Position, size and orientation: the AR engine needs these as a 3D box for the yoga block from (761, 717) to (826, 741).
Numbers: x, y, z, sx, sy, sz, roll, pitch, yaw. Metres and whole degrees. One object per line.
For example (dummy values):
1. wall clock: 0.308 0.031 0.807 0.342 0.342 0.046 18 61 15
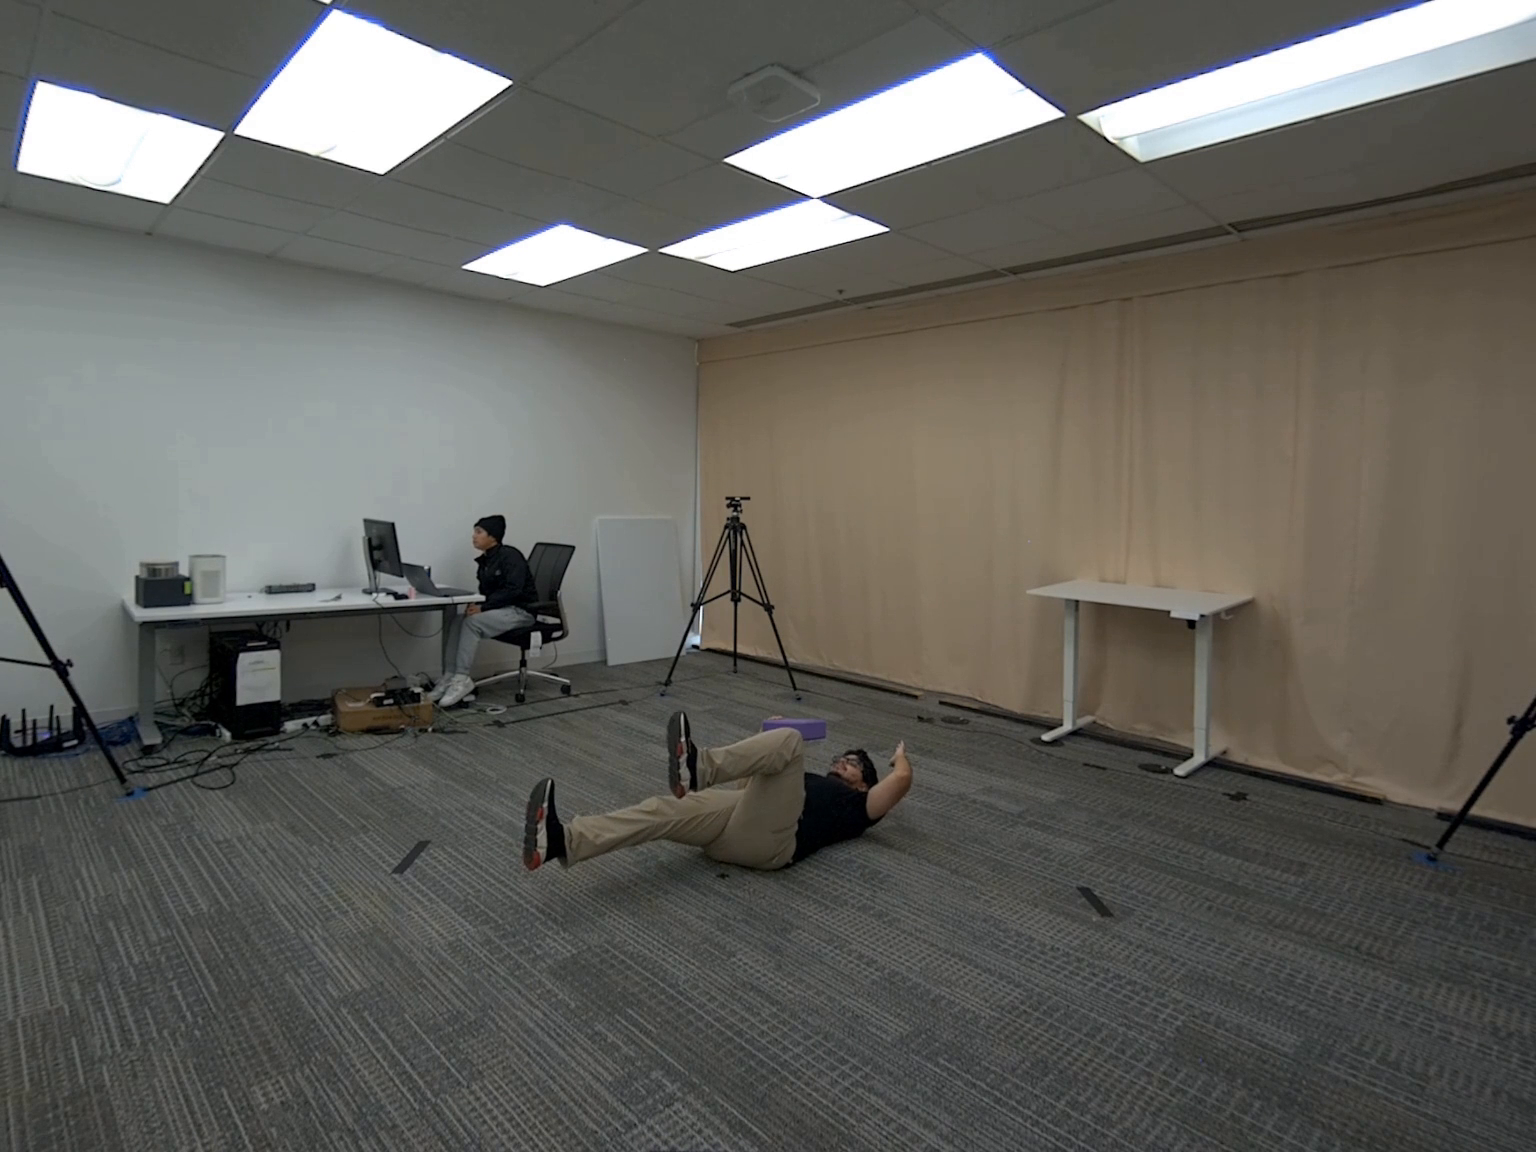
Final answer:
1. yoga block: 0.099 0.635 3.485 0.234 0.077 0.145 -6 -6 36
